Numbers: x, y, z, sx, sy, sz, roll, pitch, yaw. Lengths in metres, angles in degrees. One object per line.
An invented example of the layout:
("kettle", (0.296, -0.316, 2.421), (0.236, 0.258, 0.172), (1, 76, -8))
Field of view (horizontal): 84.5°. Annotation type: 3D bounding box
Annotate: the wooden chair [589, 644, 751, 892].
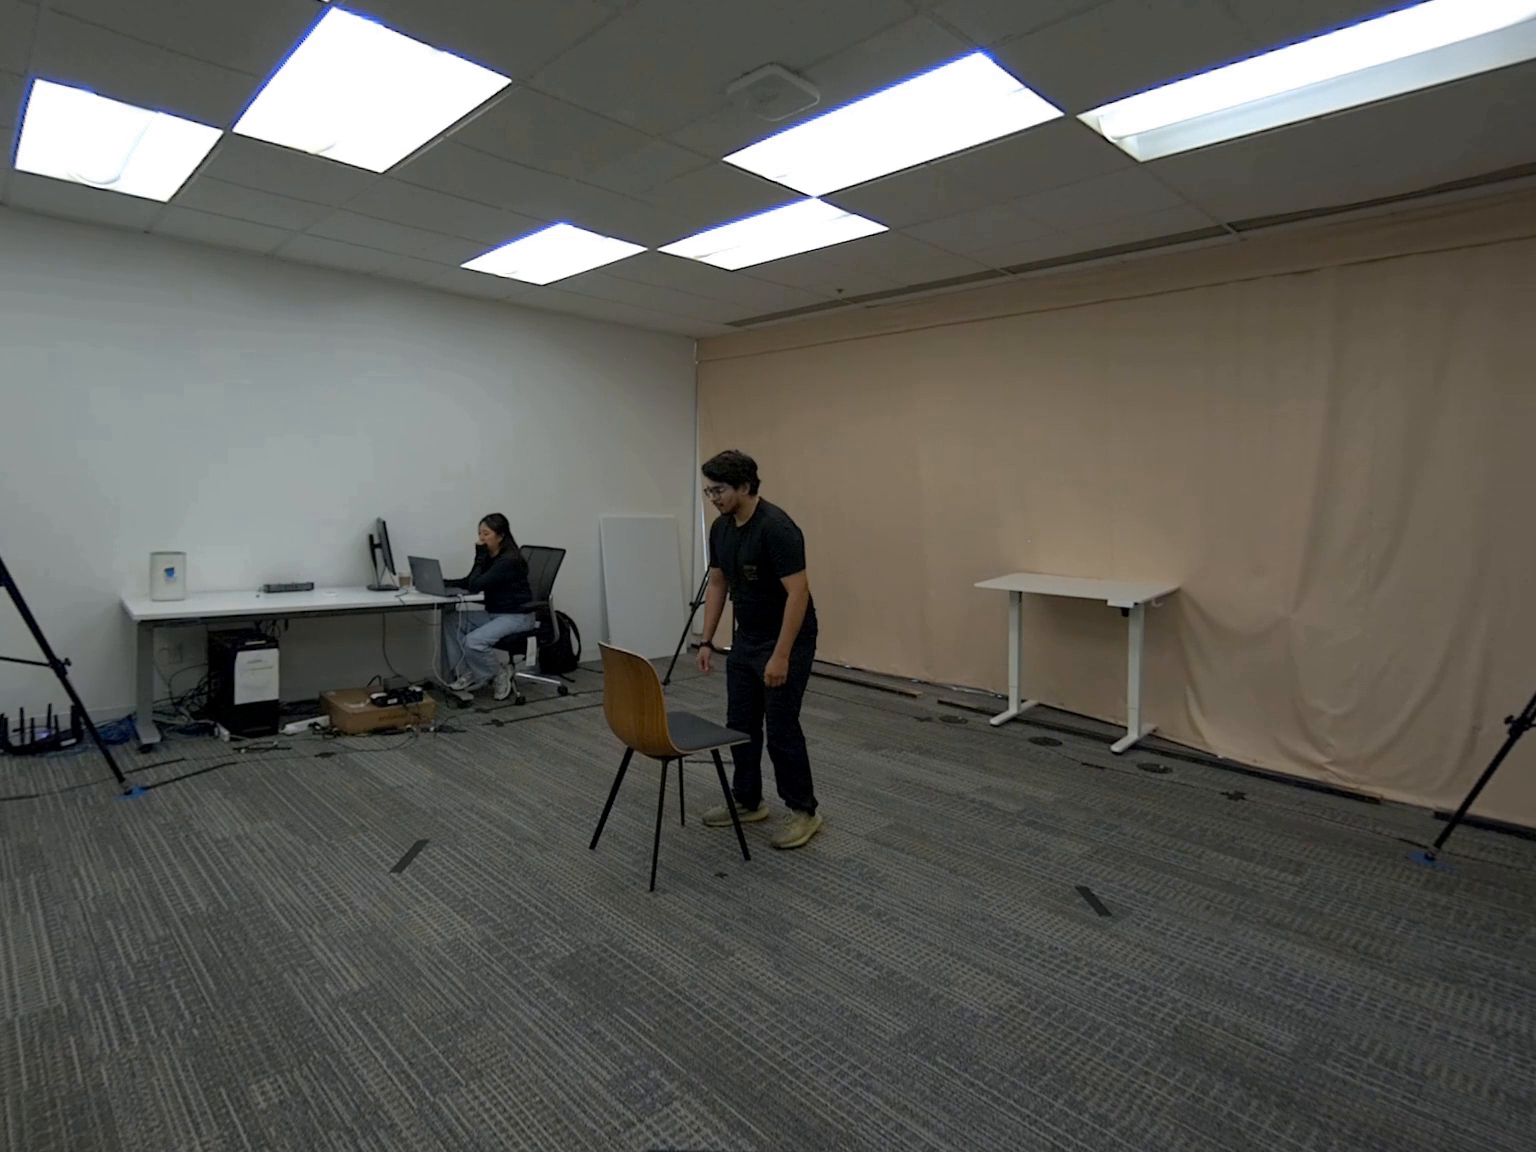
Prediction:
("wooden chair", (-0.374, 0.660, 3.241), (0.512, 0.873, 0.490), (-6, 7, -39))
